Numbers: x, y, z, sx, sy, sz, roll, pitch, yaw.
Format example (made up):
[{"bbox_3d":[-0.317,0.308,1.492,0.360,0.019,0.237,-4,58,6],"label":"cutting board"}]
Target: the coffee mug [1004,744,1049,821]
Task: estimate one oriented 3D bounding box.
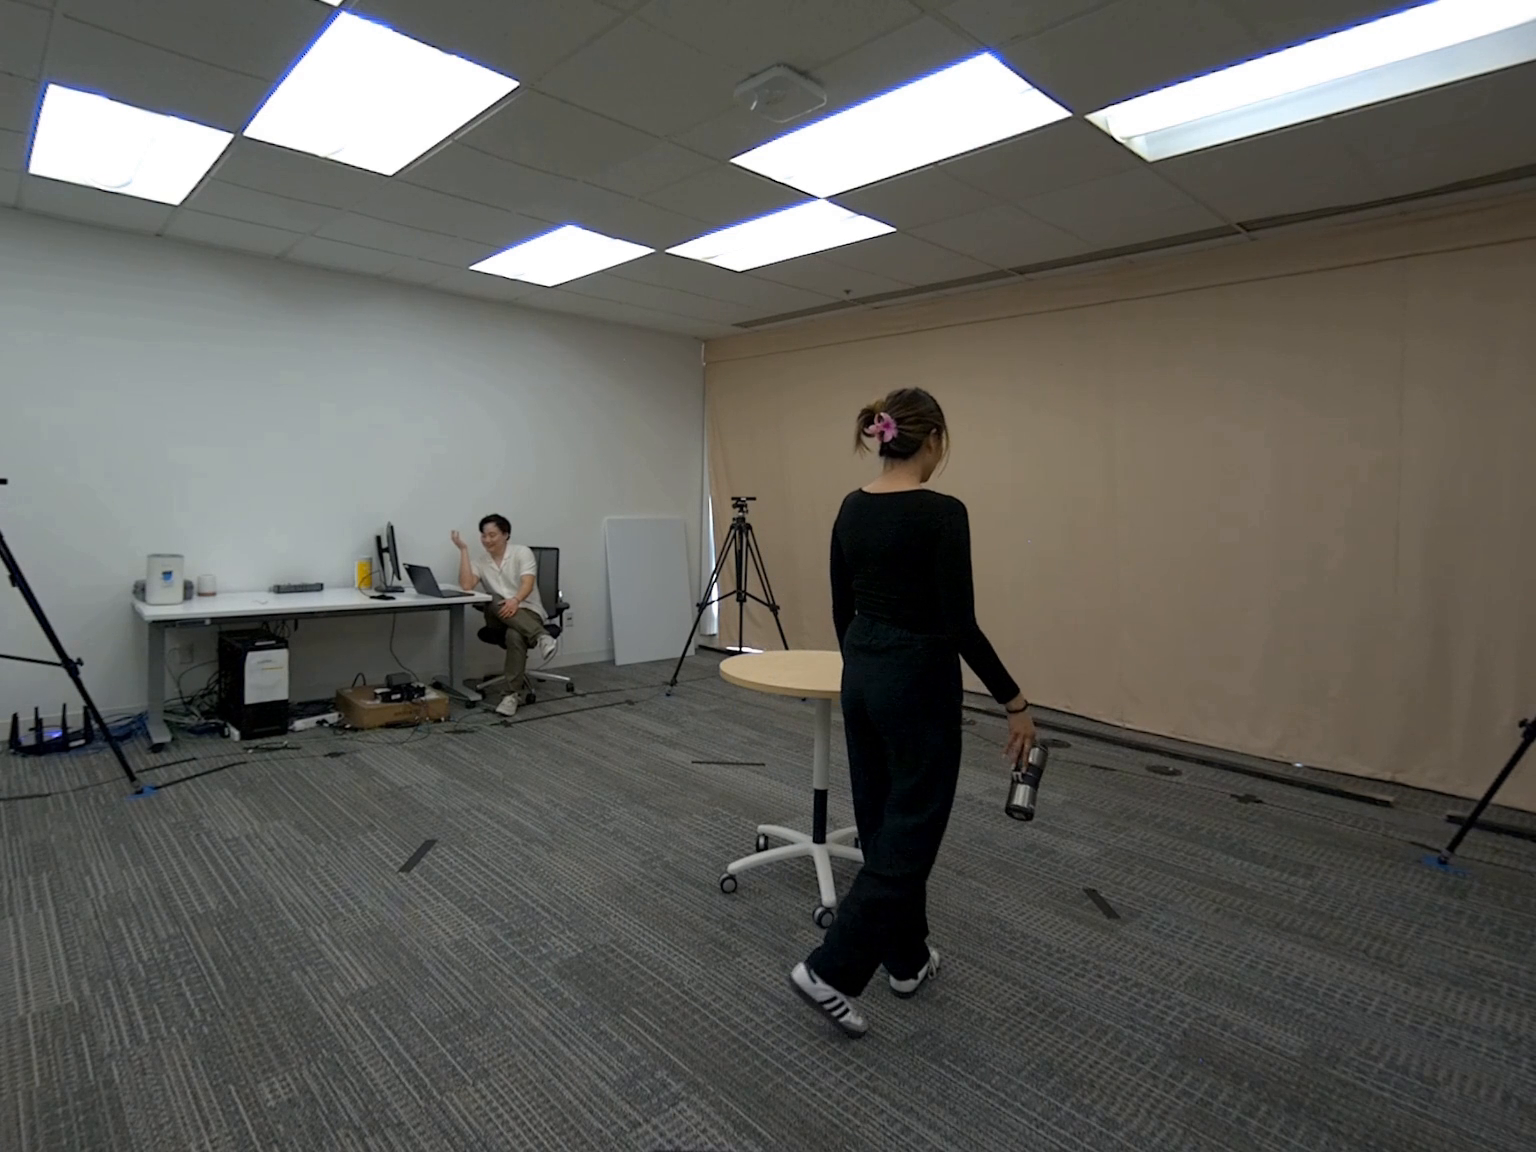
[{"bbox_3d":[0.650,0.533,2.219,0.124,0.205,0.085,7,-32,26],"label":"coffee mug"}]
